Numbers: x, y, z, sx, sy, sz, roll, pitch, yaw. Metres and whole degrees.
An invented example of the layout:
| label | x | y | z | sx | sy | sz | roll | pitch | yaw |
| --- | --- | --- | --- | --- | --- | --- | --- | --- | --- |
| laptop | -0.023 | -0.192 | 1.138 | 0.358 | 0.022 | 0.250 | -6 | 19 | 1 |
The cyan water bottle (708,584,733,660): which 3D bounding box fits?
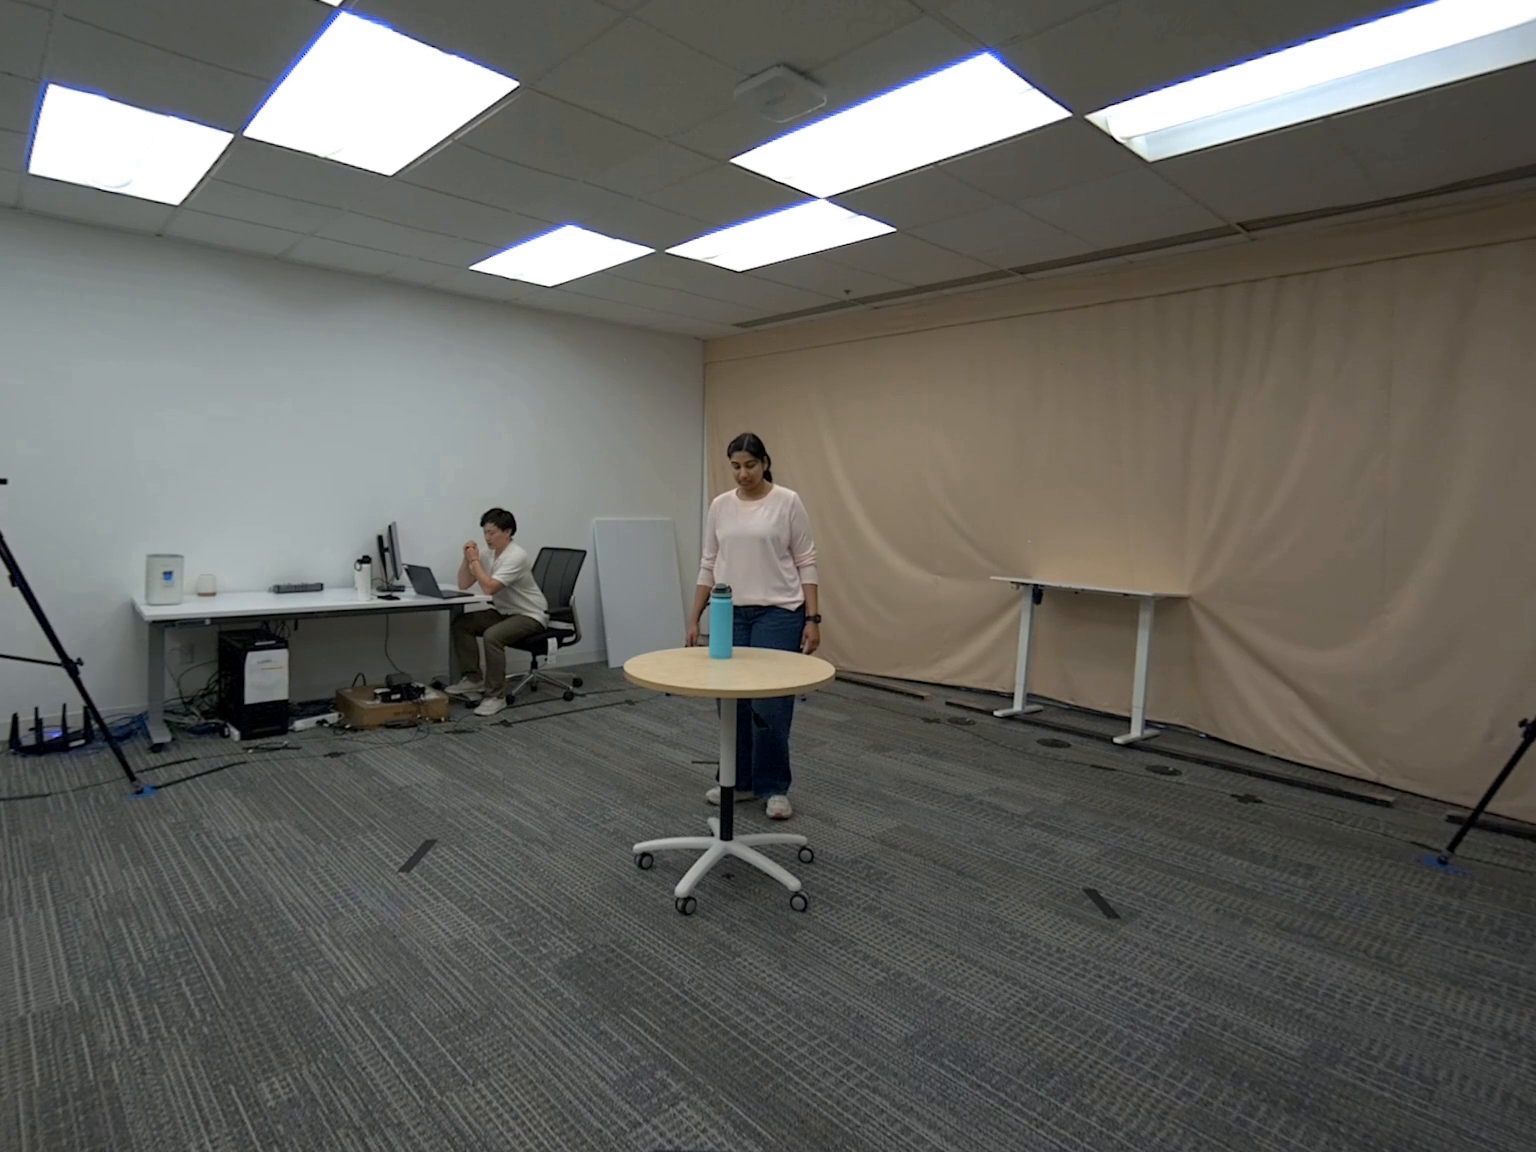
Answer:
| label | x | y | z | sx | sy | sz | roll | pitch | yaw |
| --- | --- | --- | --- | --- | --- | --- | --- | --- | --- |
| cyan water bottle | -0.195 | 0.170 | 3.223 | 0.092 | 0.283 | 0.092 | 0 | 1 | -1 |
